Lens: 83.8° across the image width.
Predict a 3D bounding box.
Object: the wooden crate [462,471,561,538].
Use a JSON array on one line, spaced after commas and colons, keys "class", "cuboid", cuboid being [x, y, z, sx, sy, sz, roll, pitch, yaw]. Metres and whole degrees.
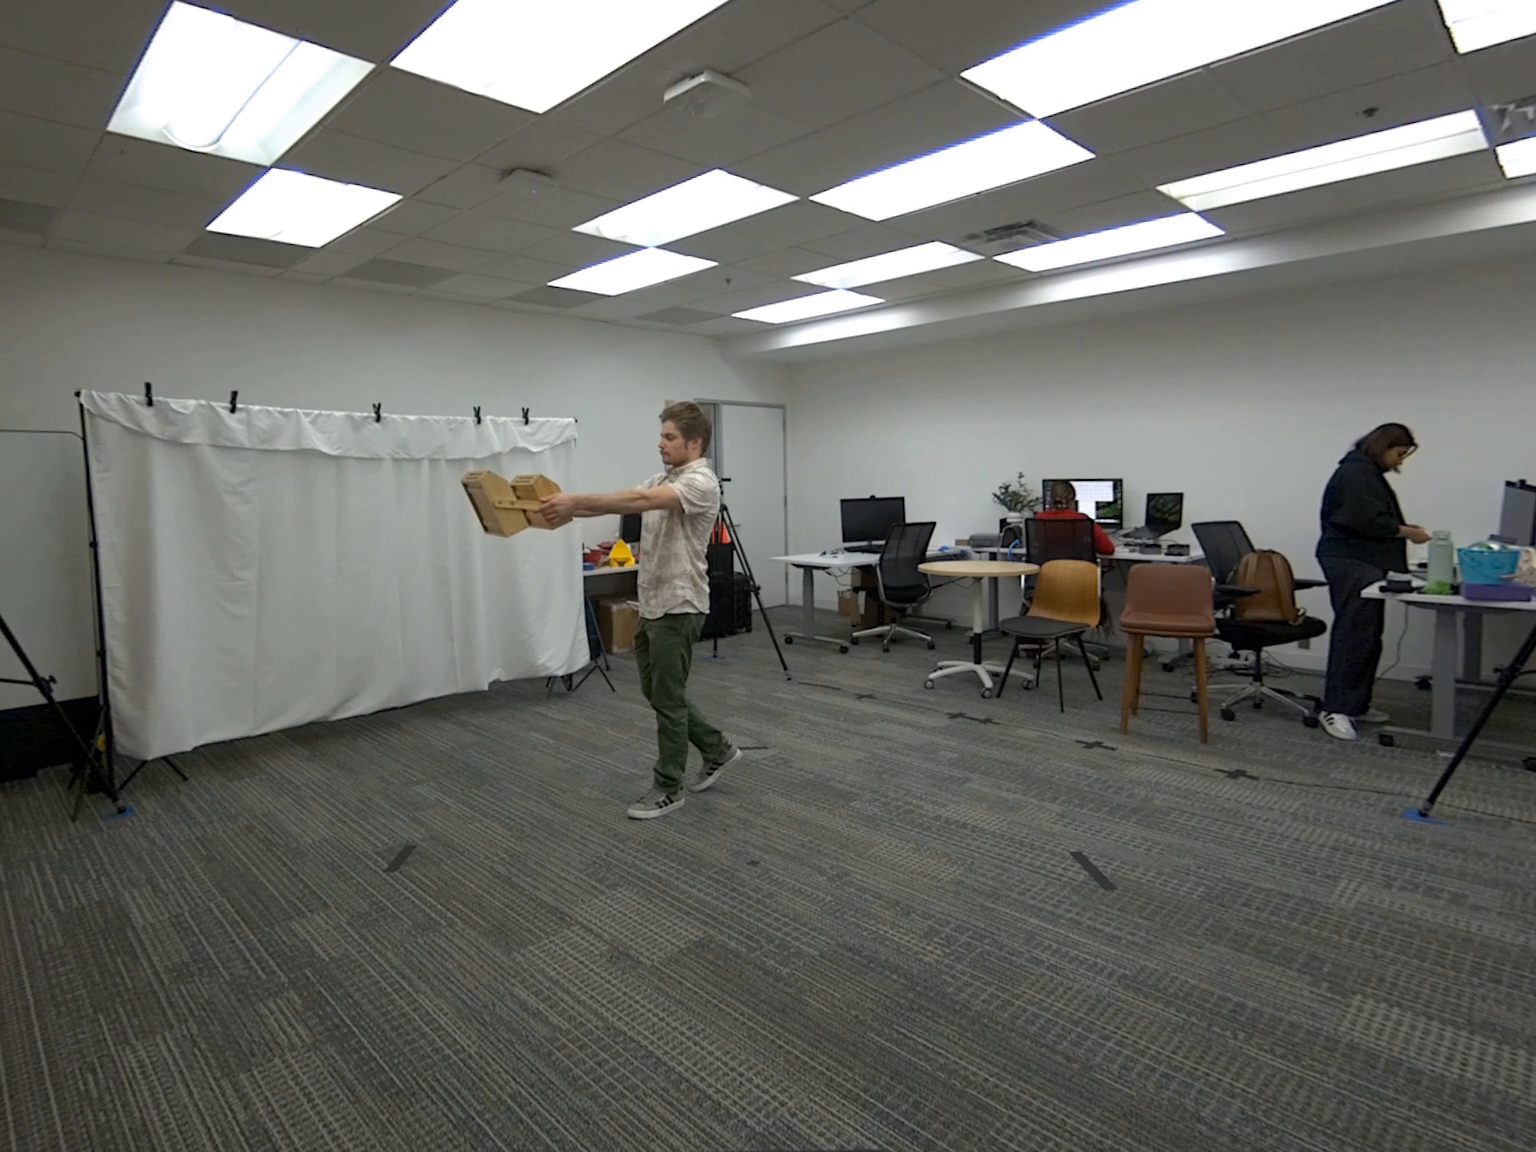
[{"class": "wooden crate", "cuboid": [-0.960, -0.302, 3.282, 0.271, 0.297, 0.333, -29, 17, -25]}]
